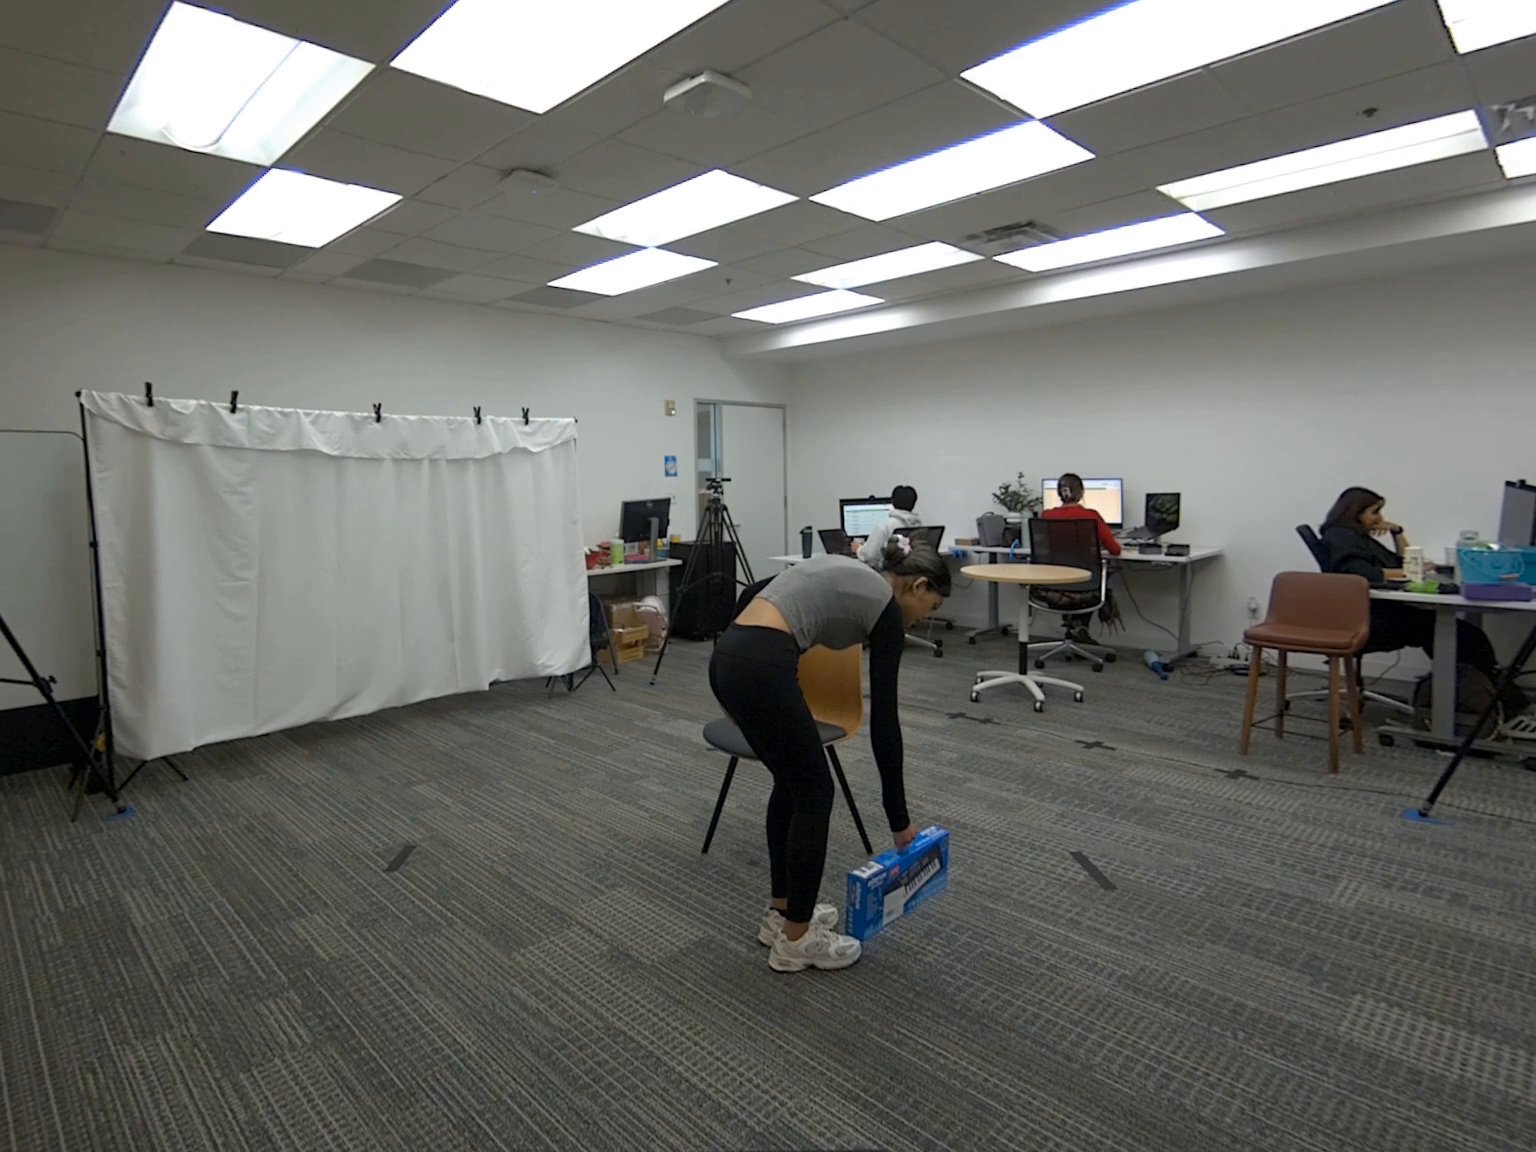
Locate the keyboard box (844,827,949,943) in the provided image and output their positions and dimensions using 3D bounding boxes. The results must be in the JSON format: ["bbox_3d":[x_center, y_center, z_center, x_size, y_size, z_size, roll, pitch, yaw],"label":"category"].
[{"bbox_3d":[0.368,0.858,2.401,0.061,0.175,0.425,5,8,41],"label":"keyboard box"}]
